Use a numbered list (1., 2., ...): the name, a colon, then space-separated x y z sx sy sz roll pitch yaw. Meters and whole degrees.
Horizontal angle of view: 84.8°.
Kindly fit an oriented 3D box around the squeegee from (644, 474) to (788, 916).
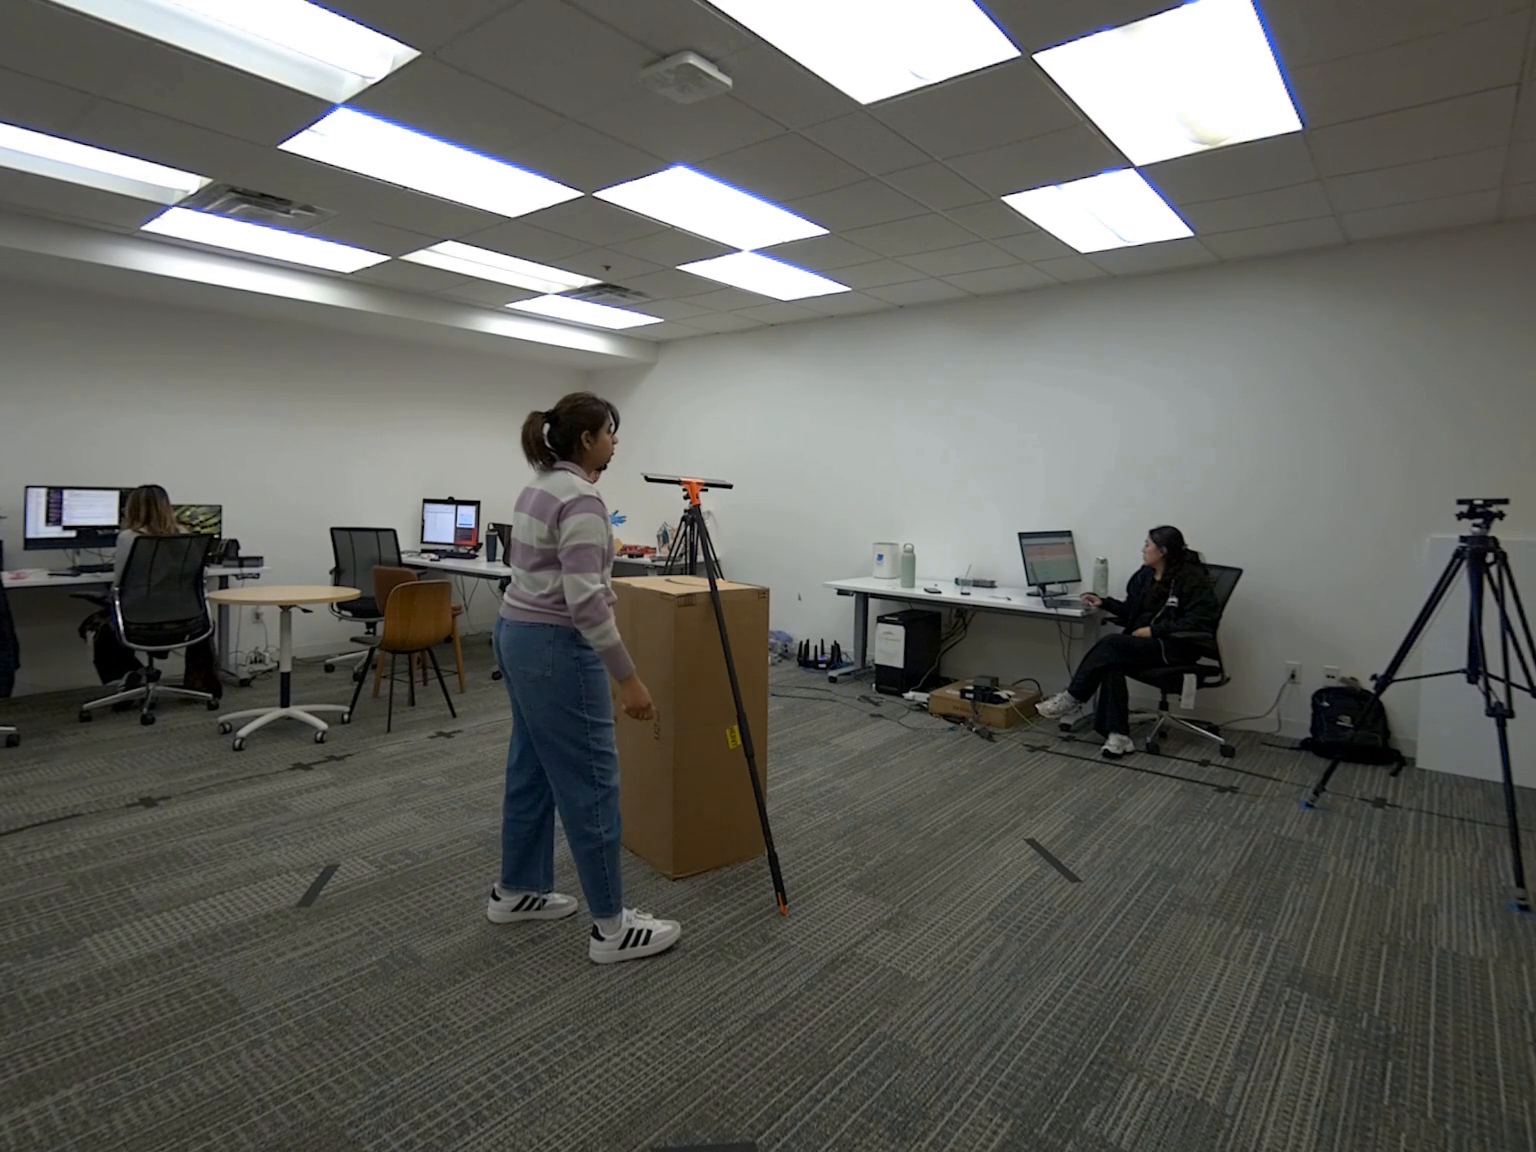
1. squeegee: -0.122 0.357 2.950 0.423 1.565 0.054 1 -21 -46
